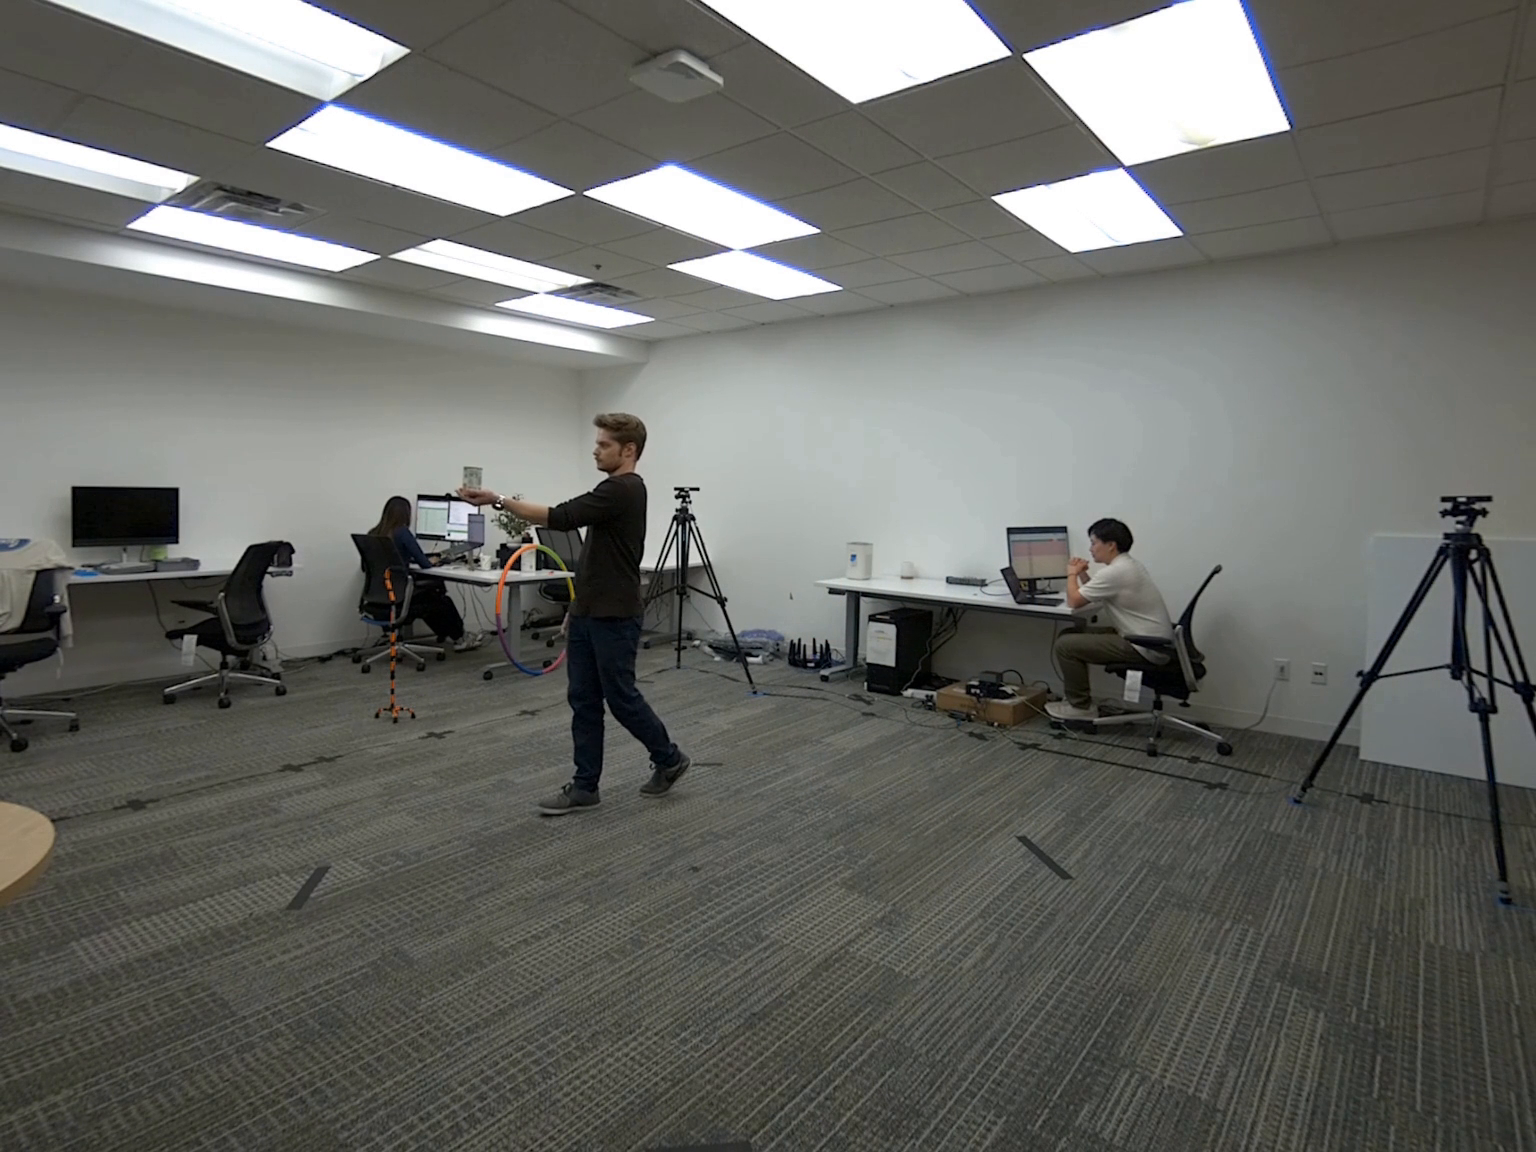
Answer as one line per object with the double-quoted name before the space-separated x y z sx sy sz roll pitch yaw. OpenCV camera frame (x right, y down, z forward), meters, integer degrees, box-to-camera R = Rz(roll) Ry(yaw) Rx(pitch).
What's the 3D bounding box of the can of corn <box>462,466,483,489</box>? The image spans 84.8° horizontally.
"can of corn" -1.196 -0.377 3.394 0.074 0.111 0.074 2 -2 -2
